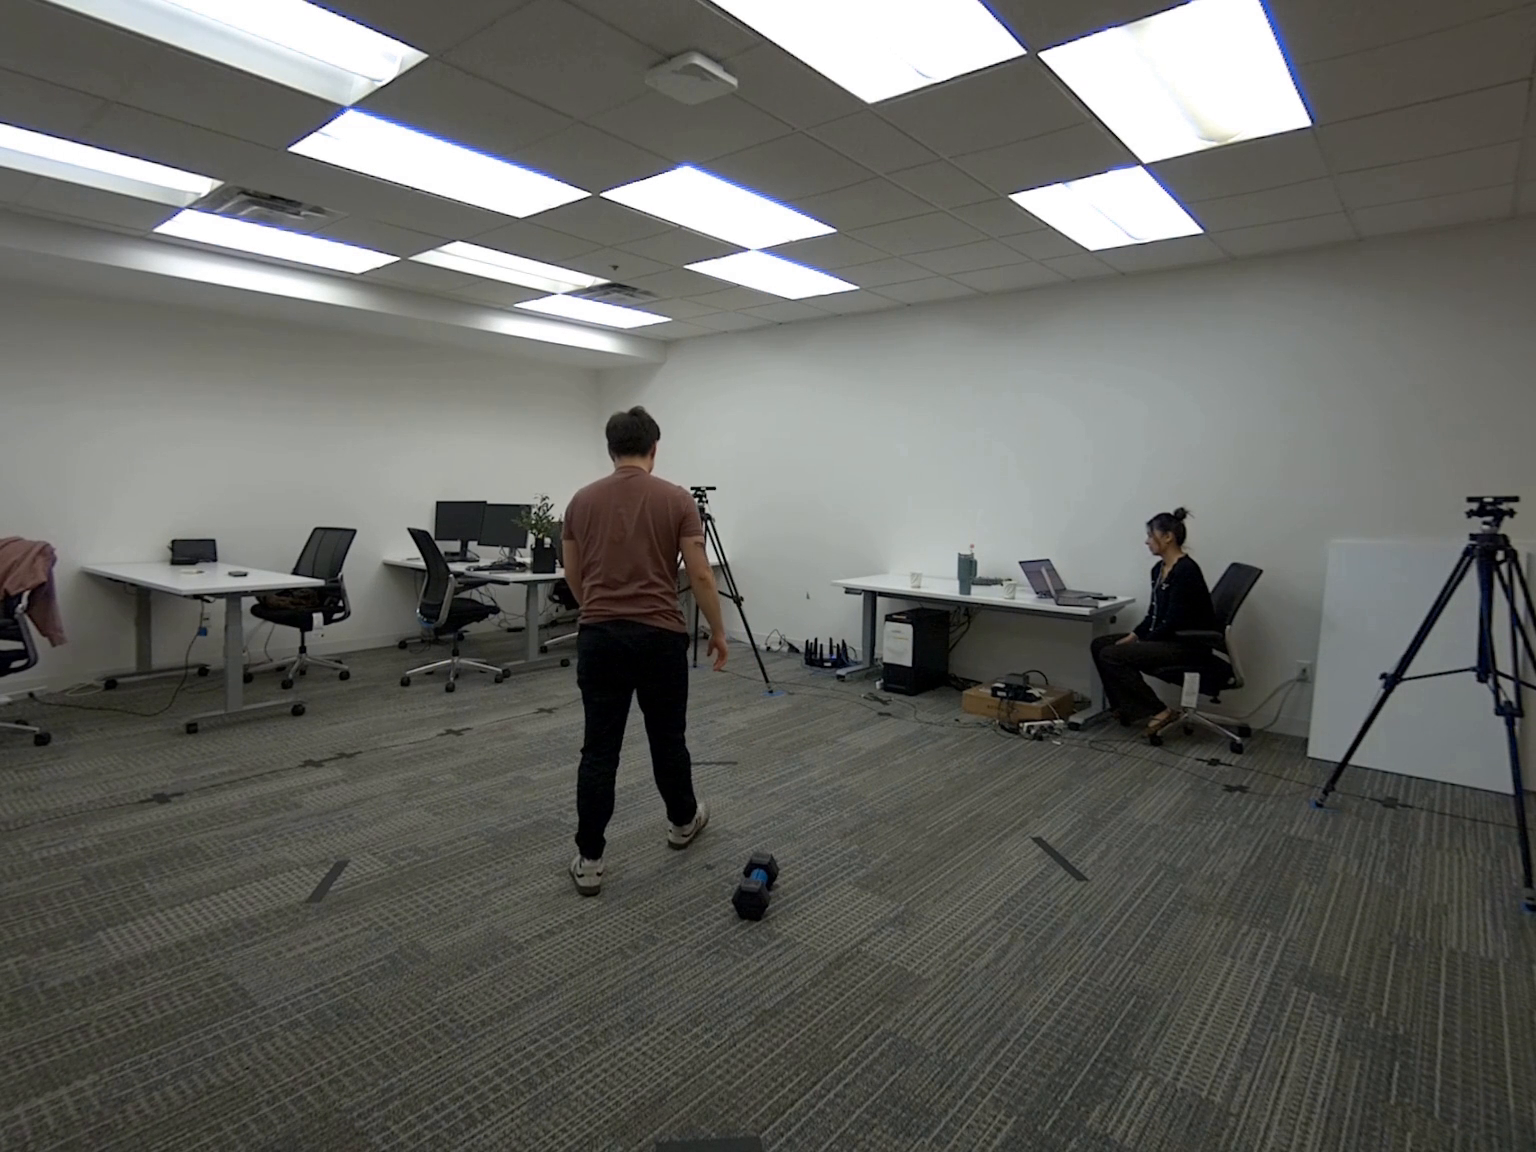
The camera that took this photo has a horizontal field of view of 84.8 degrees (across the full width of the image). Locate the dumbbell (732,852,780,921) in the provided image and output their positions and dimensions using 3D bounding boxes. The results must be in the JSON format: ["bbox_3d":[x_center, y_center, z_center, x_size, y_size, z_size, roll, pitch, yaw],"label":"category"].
[{"bbox_3d":[-0.044,1.036,2.867,0.109,0.123,0.291,-30,-1,10],"label":"dumbbell"}]
